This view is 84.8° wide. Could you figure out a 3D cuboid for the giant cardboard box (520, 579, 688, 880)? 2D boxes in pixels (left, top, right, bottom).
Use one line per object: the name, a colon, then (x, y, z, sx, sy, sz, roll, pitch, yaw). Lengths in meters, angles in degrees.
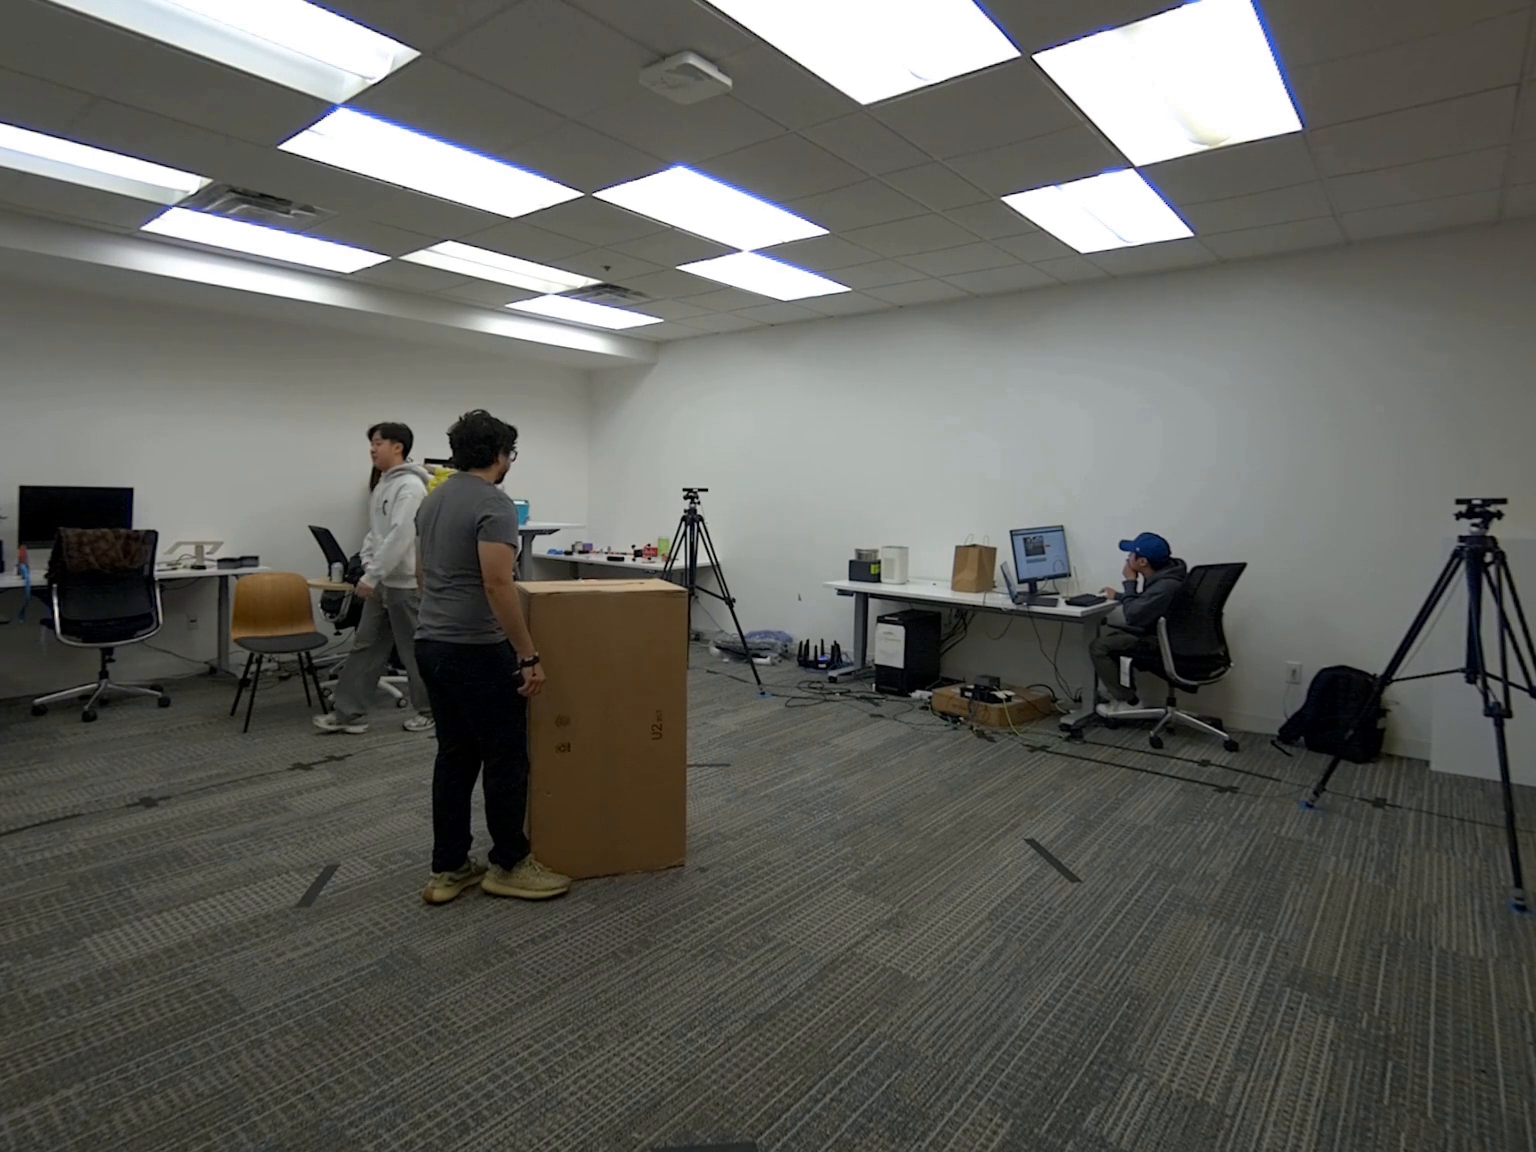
giant cardboard box: (-0.650, 0.543, 3.217, 0.571, 1.024, 0.458, 0, 3, -23)
